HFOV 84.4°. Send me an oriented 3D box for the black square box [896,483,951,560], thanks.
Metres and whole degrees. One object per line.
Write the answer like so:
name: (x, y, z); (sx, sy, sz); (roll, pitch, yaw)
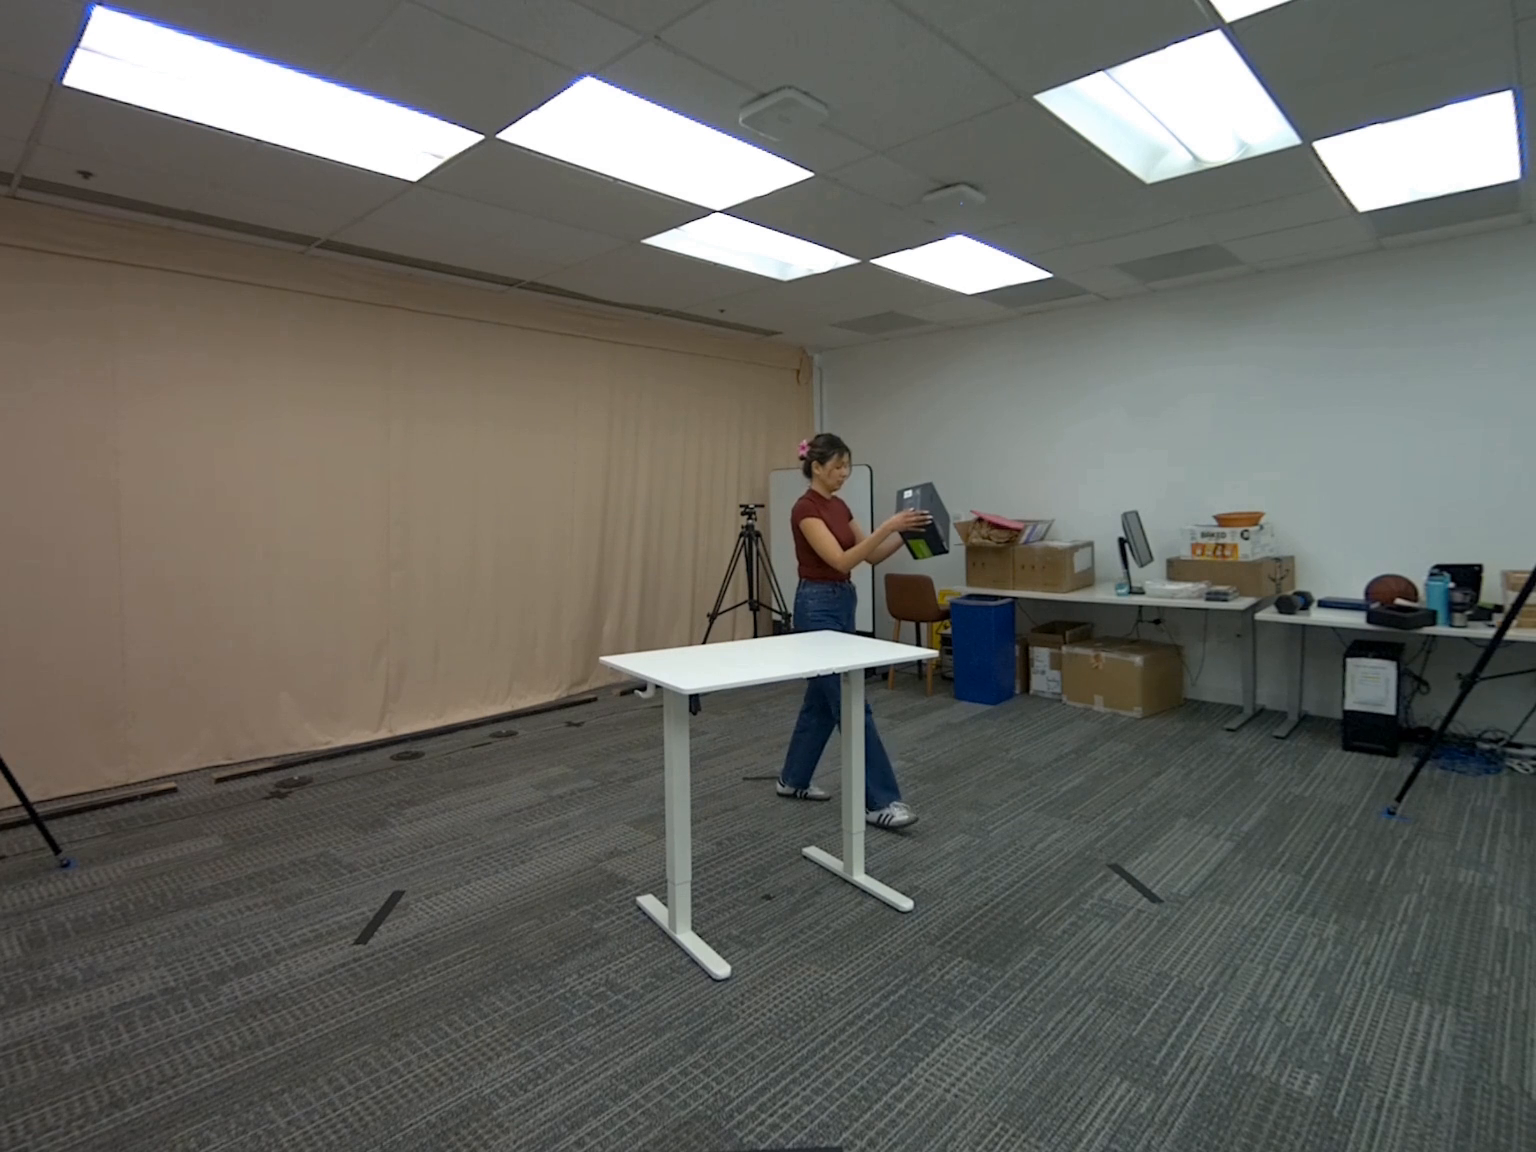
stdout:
black square box: (0.660, -0.232, 3.572); (0.159, 0.221, 0.219); (-14, 41, 28)
